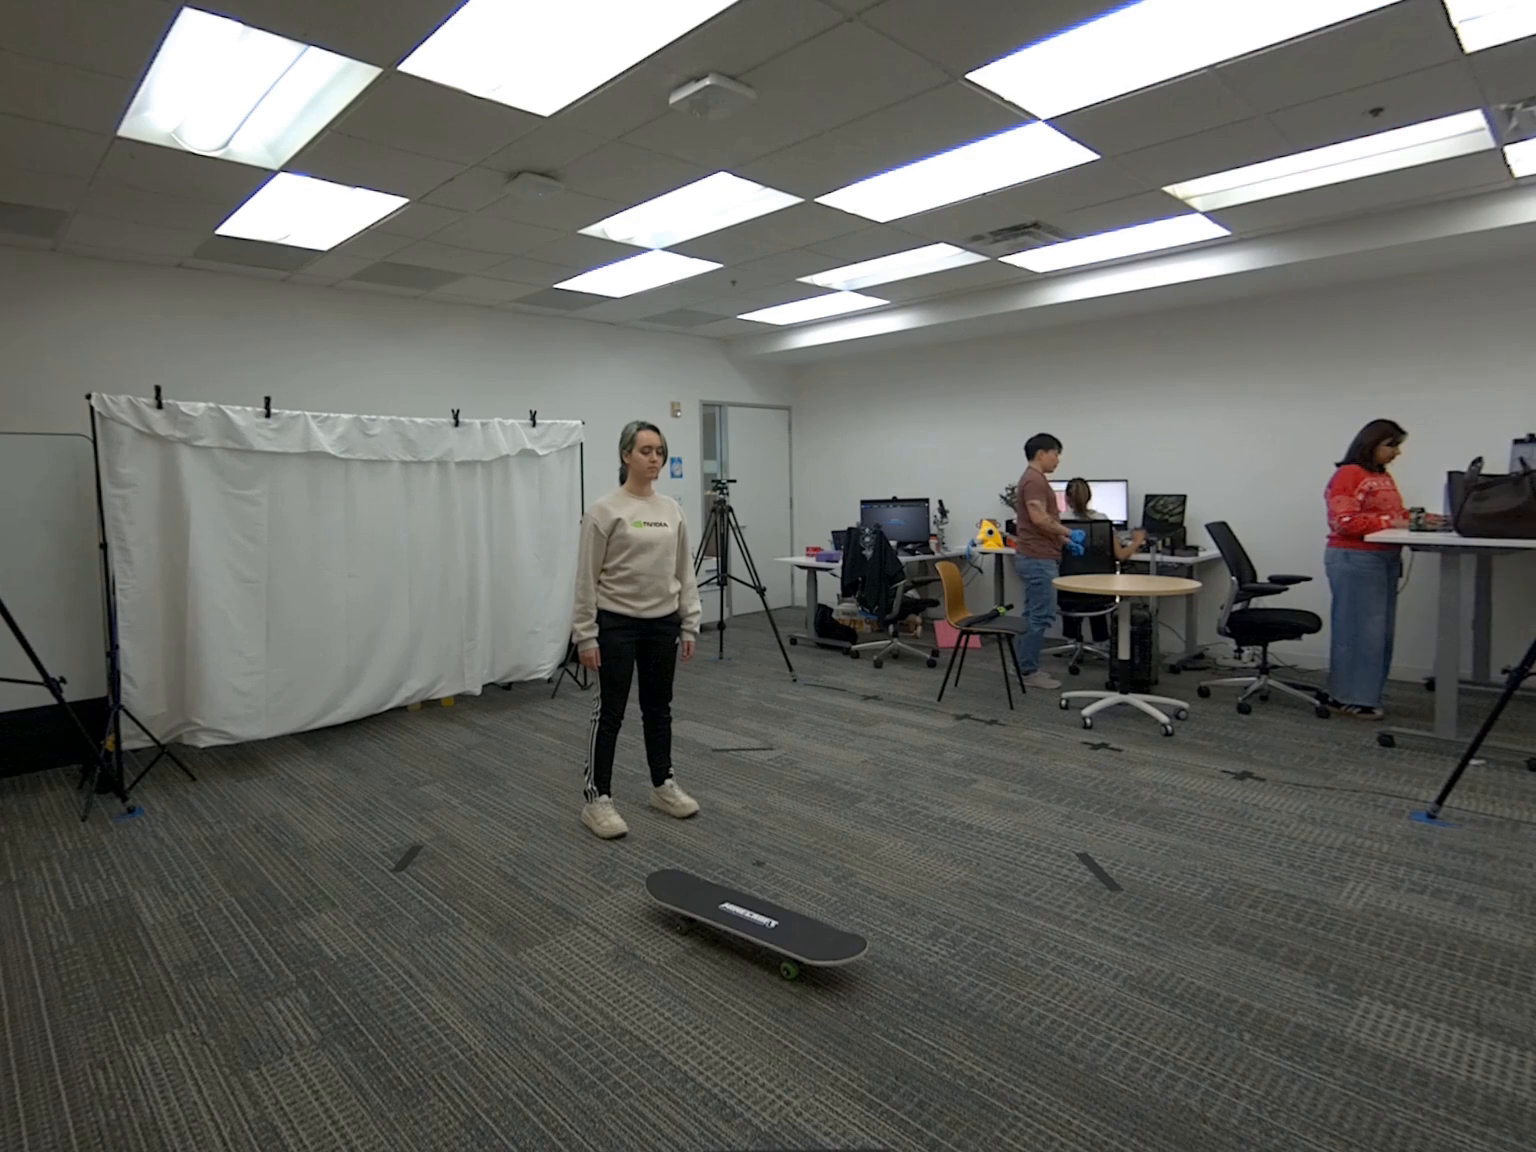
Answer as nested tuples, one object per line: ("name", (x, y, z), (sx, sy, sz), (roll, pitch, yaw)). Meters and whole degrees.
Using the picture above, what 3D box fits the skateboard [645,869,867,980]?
("skateboard", (-0.058, 1.055, 2.567), (0.808, 0.110, 0.189), (3, 8, 37))
